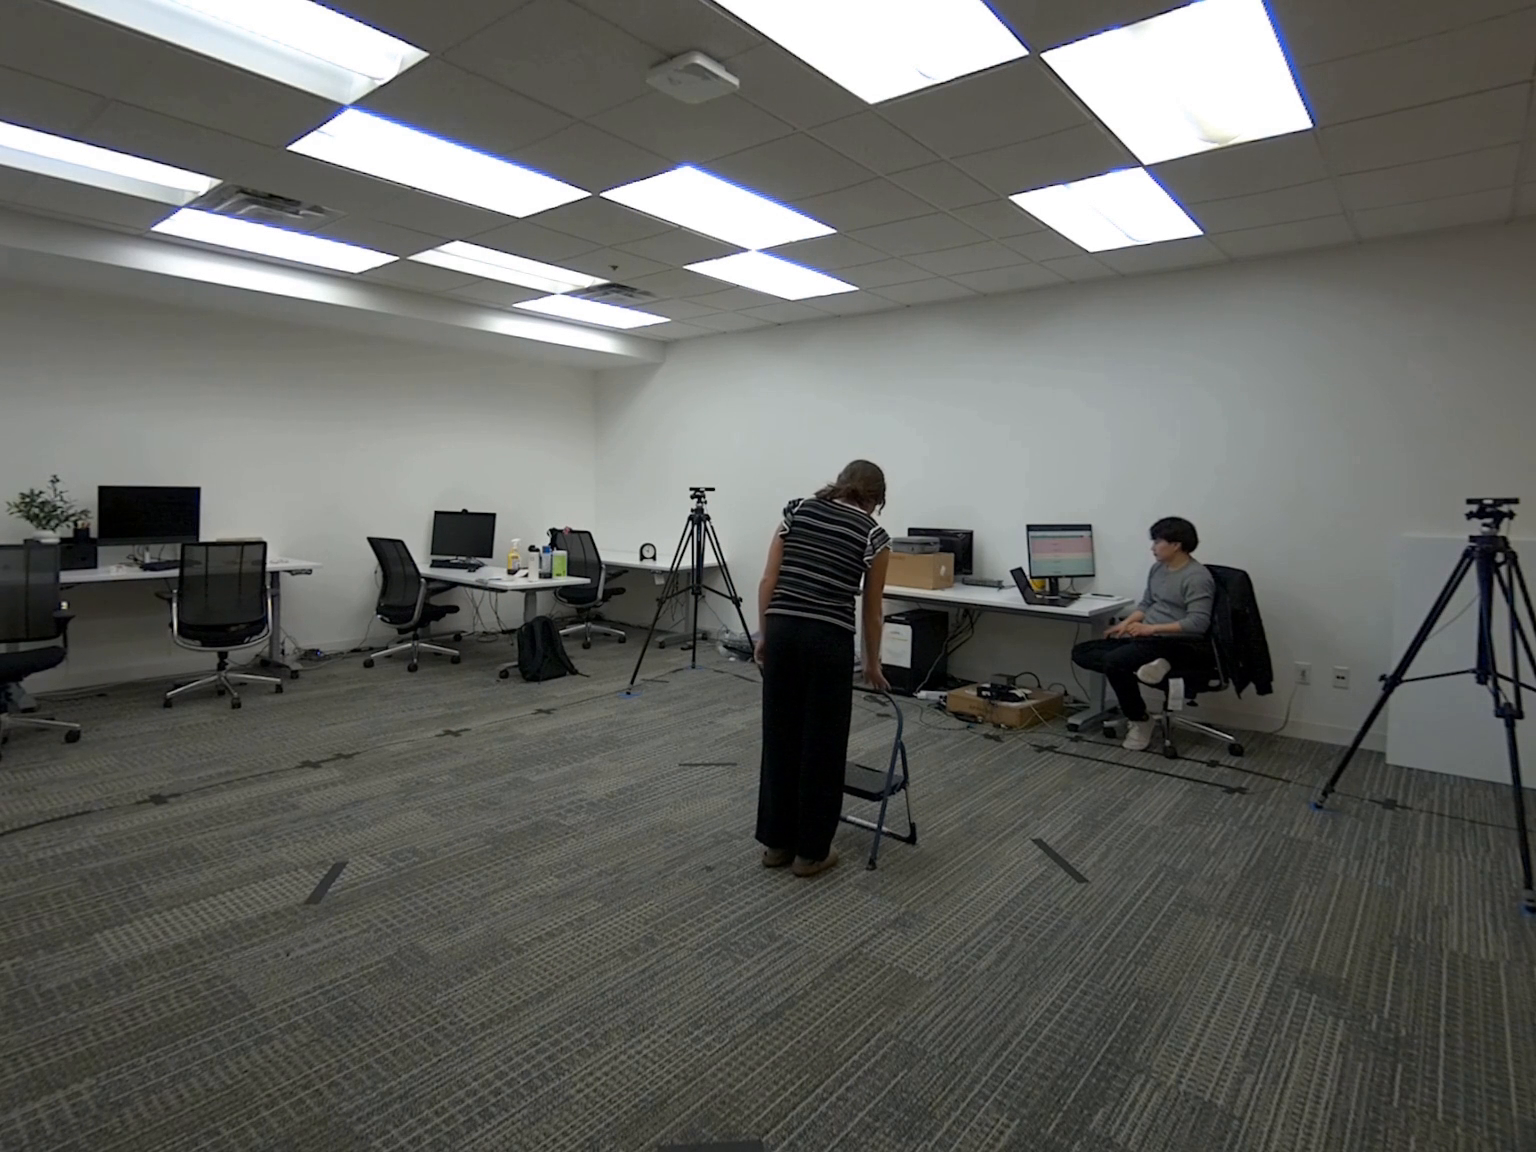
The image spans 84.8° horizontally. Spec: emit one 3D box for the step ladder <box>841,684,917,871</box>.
[{"bbox_3d":[0.331,0.750,3.378,0.445,0.604,0.339,5,5,40],"label":"step ladder"}]
